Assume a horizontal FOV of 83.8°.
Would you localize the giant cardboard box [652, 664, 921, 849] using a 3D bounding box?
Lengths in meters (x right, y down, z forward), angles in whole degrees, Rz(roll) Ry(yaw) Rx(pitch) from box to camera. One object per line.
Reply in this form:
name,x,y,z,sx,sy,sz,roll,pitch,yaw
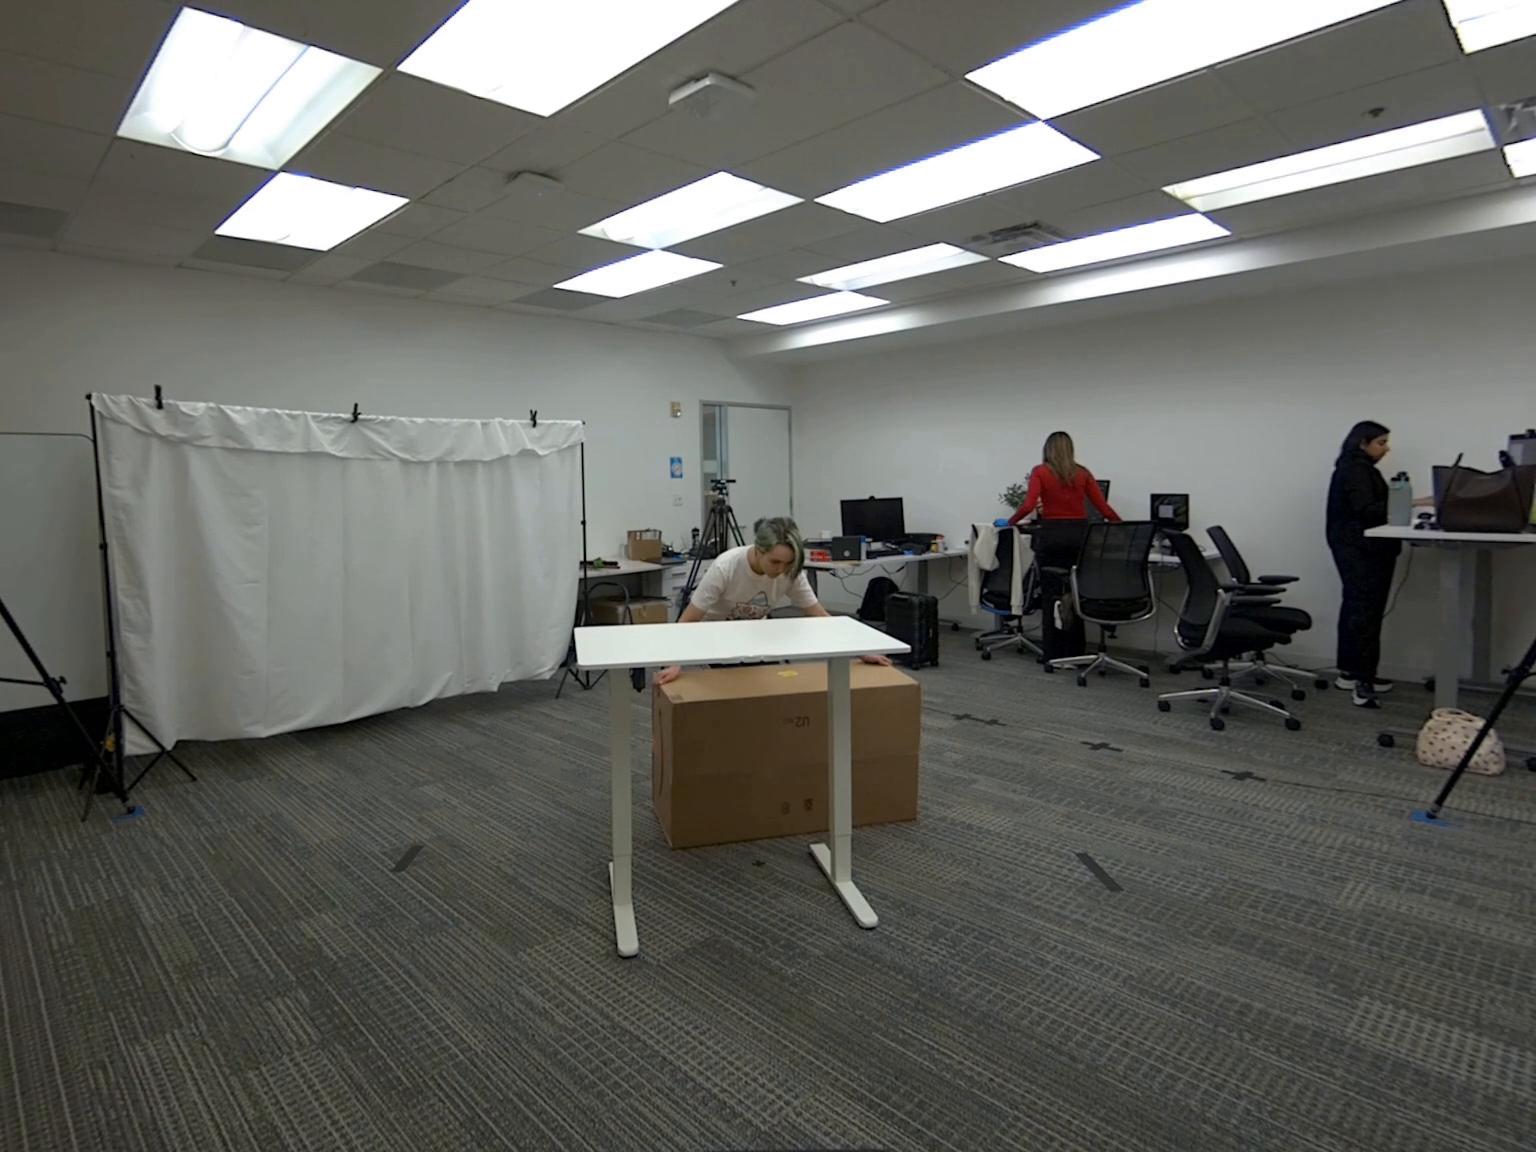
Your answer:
giant cardboard box,0.061,0.696,3.531,1.012,0.580,0.456,-2,7,-15
